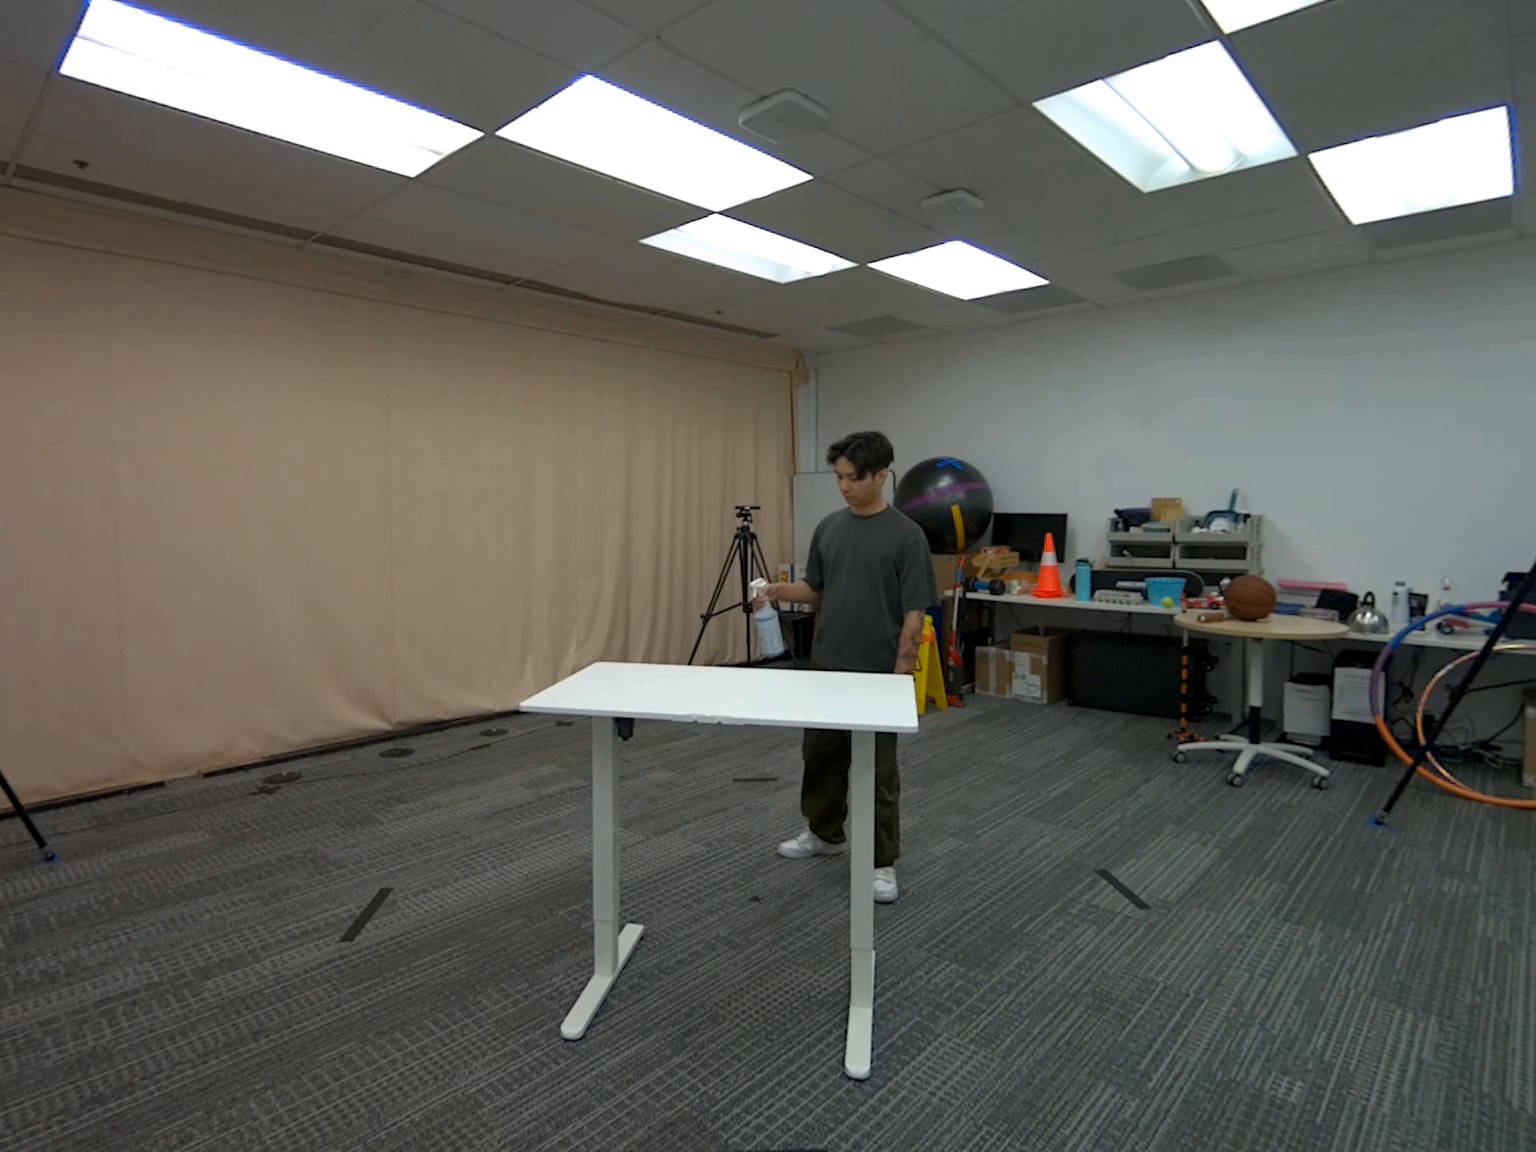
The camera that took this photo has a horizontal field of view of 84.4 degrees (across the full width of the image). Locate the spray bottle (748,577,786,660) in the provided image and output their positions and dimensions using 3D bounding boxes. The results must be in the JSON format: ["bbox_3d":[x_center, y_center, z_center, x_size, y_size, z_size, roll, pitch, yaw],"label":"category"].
[{"bbox_3d":[-0.001,0.155,3.133,0.088,0.294,0.090,-20,17,-27],"label":"spray bottle"}]
